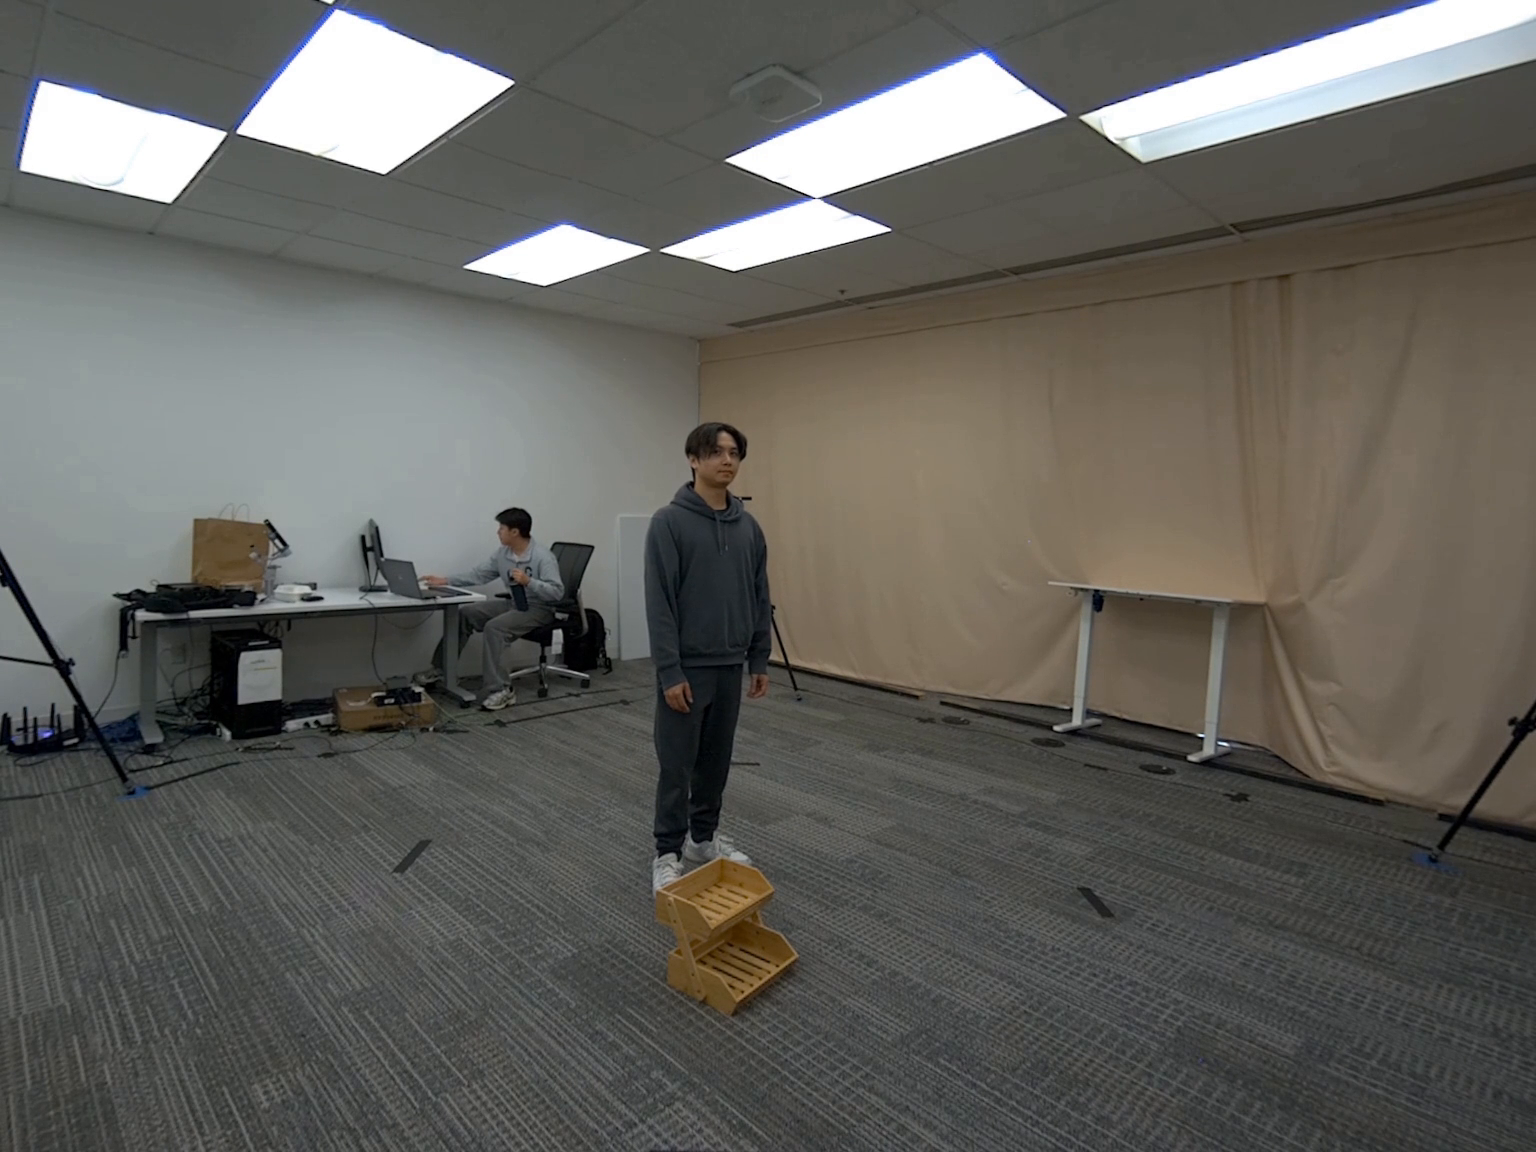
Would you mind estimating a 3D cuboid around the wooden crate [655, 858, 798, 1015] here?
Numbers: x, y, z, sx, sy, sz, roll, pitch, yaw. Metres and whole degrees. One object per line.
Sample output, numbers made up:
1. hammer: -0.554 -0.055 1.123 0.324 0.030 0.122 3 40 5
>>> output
1. wooden crate: -0.118 1.038 2.448 0.309 0.272 0.317 4 5 36
